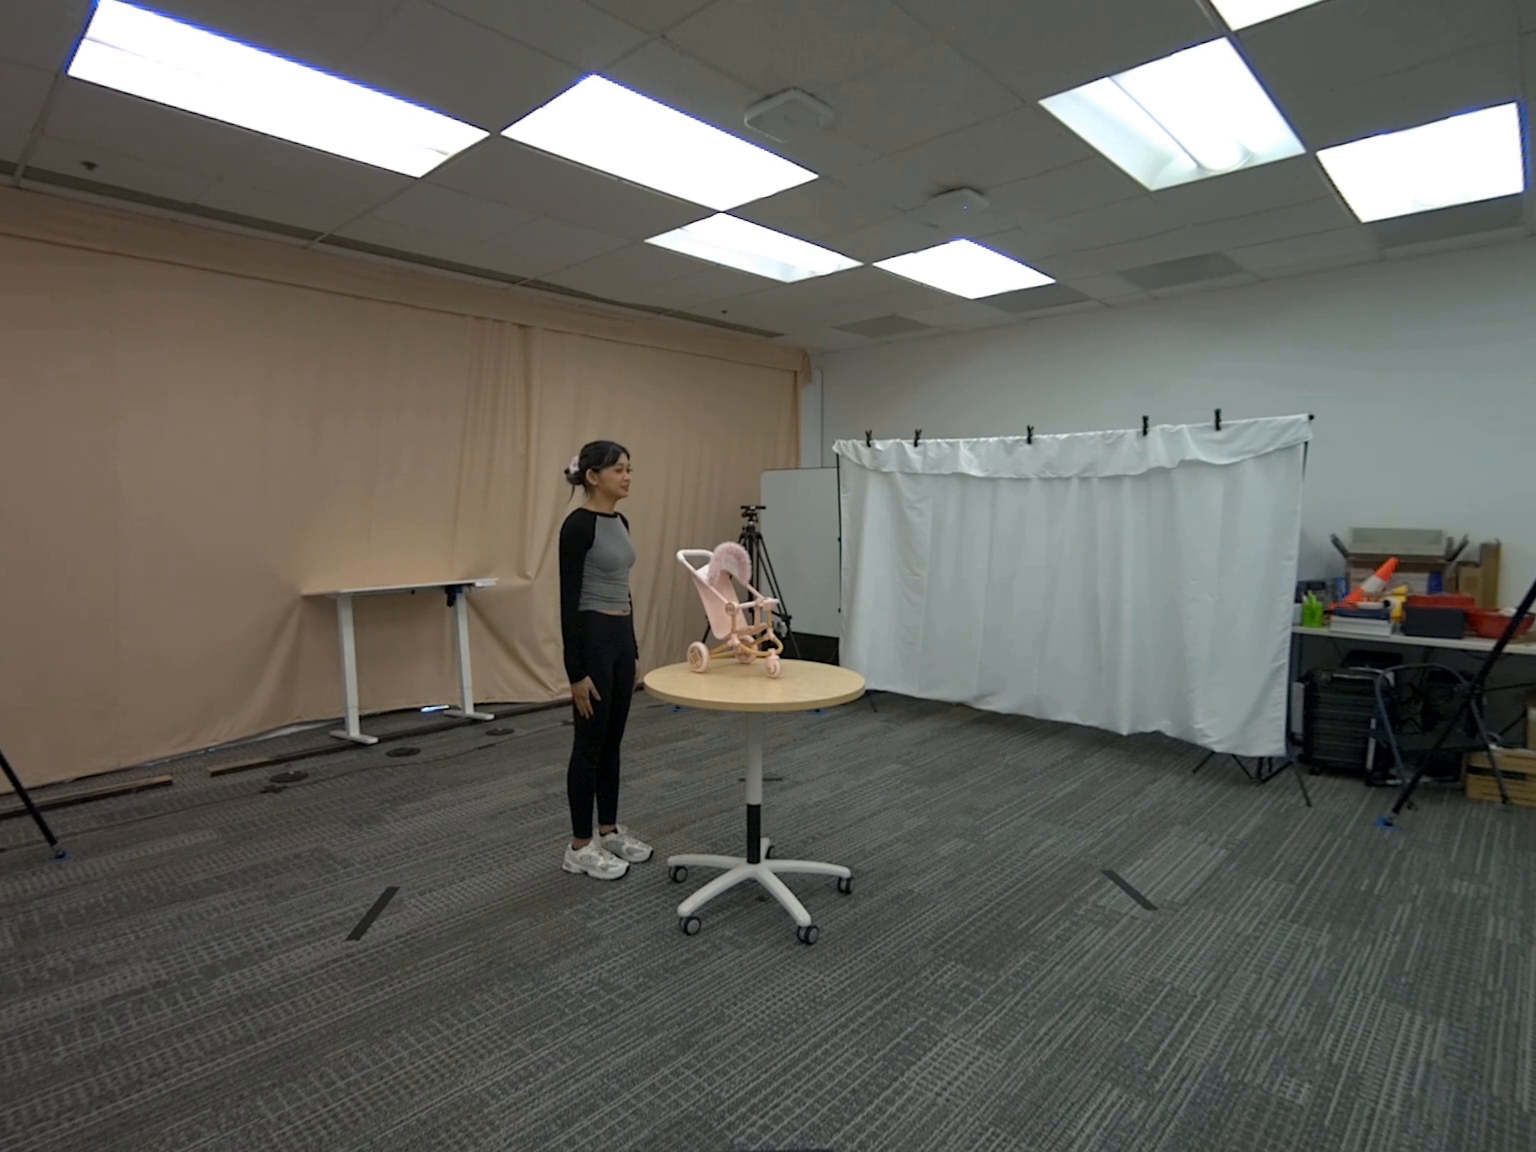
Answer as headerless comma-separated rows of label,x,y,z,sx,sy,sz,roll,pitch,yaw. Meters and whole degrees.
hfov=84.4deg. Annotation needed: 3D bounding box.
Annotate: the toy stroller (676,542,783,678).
toy stroller,-0.118,0.120,3.048,0.273,0.539,0.349,-3,-12,-43
